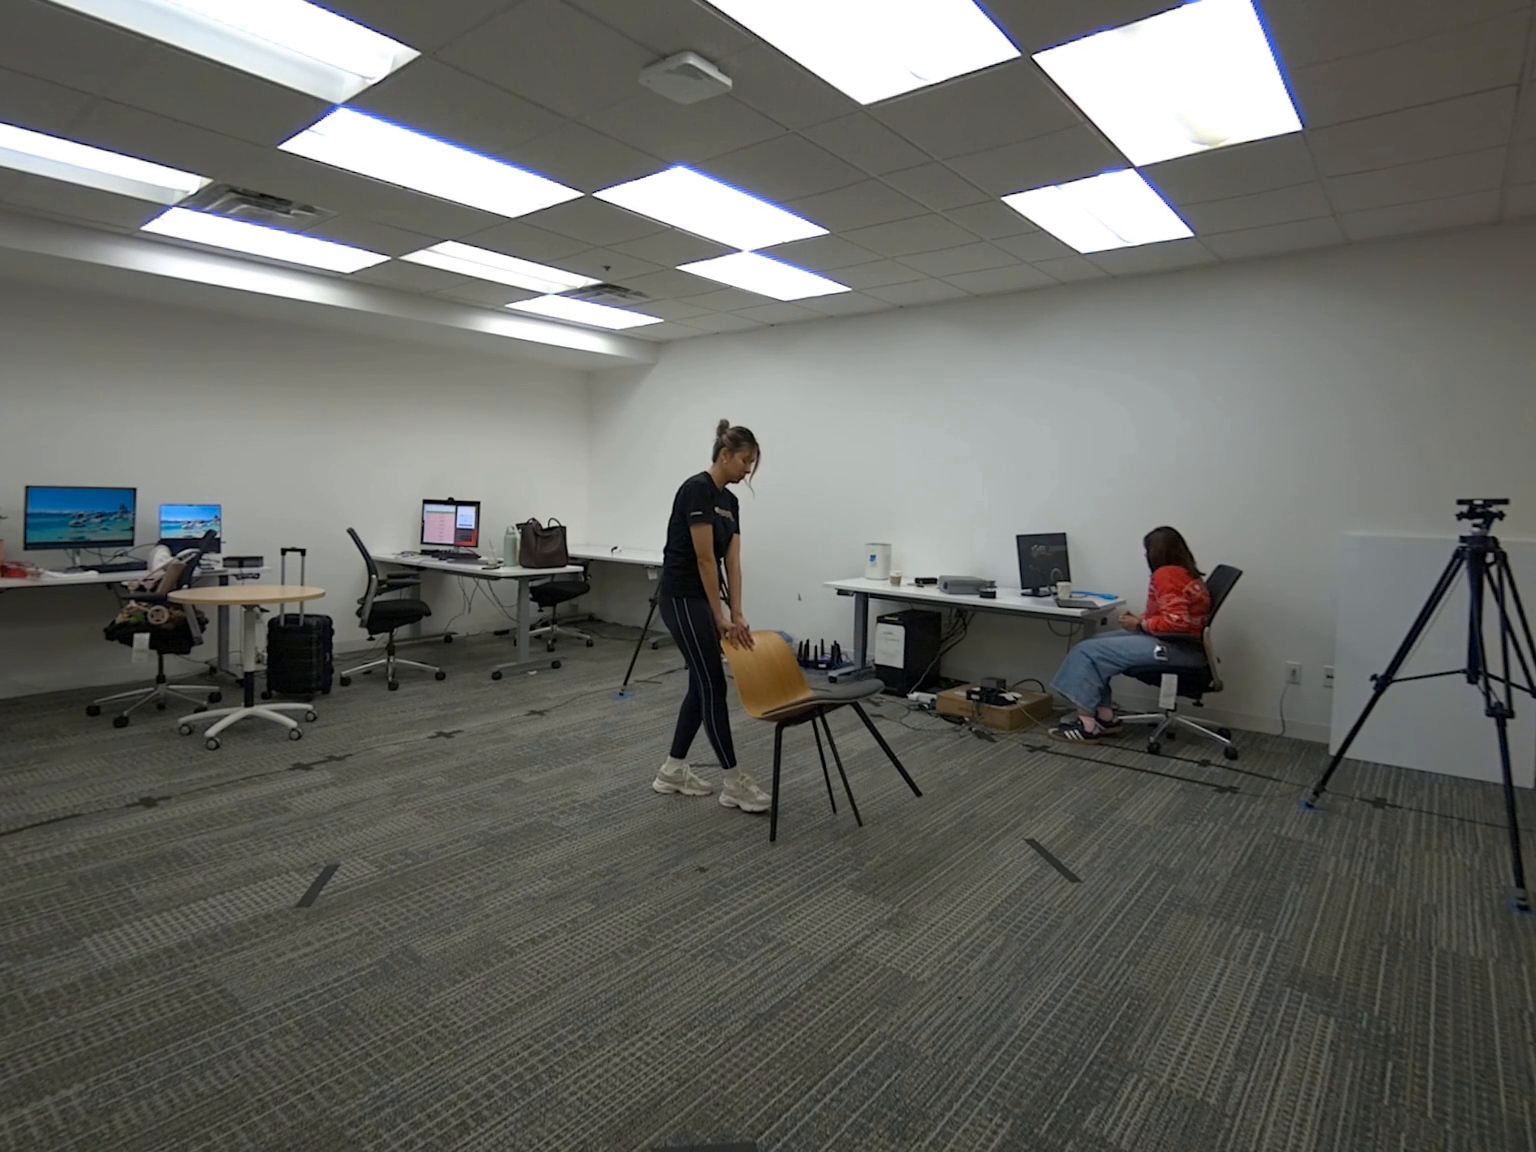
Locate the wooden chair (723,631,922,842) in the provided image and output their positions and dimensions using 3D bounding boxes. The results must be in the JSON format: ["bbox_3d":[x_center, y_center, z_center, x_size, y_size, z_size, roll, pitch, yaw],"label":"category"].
[{"bbox_3d":[0.188,0.555,3.458,0.529,0.895,0.464,-32,-19,37],"label":"wooden chair"}]
